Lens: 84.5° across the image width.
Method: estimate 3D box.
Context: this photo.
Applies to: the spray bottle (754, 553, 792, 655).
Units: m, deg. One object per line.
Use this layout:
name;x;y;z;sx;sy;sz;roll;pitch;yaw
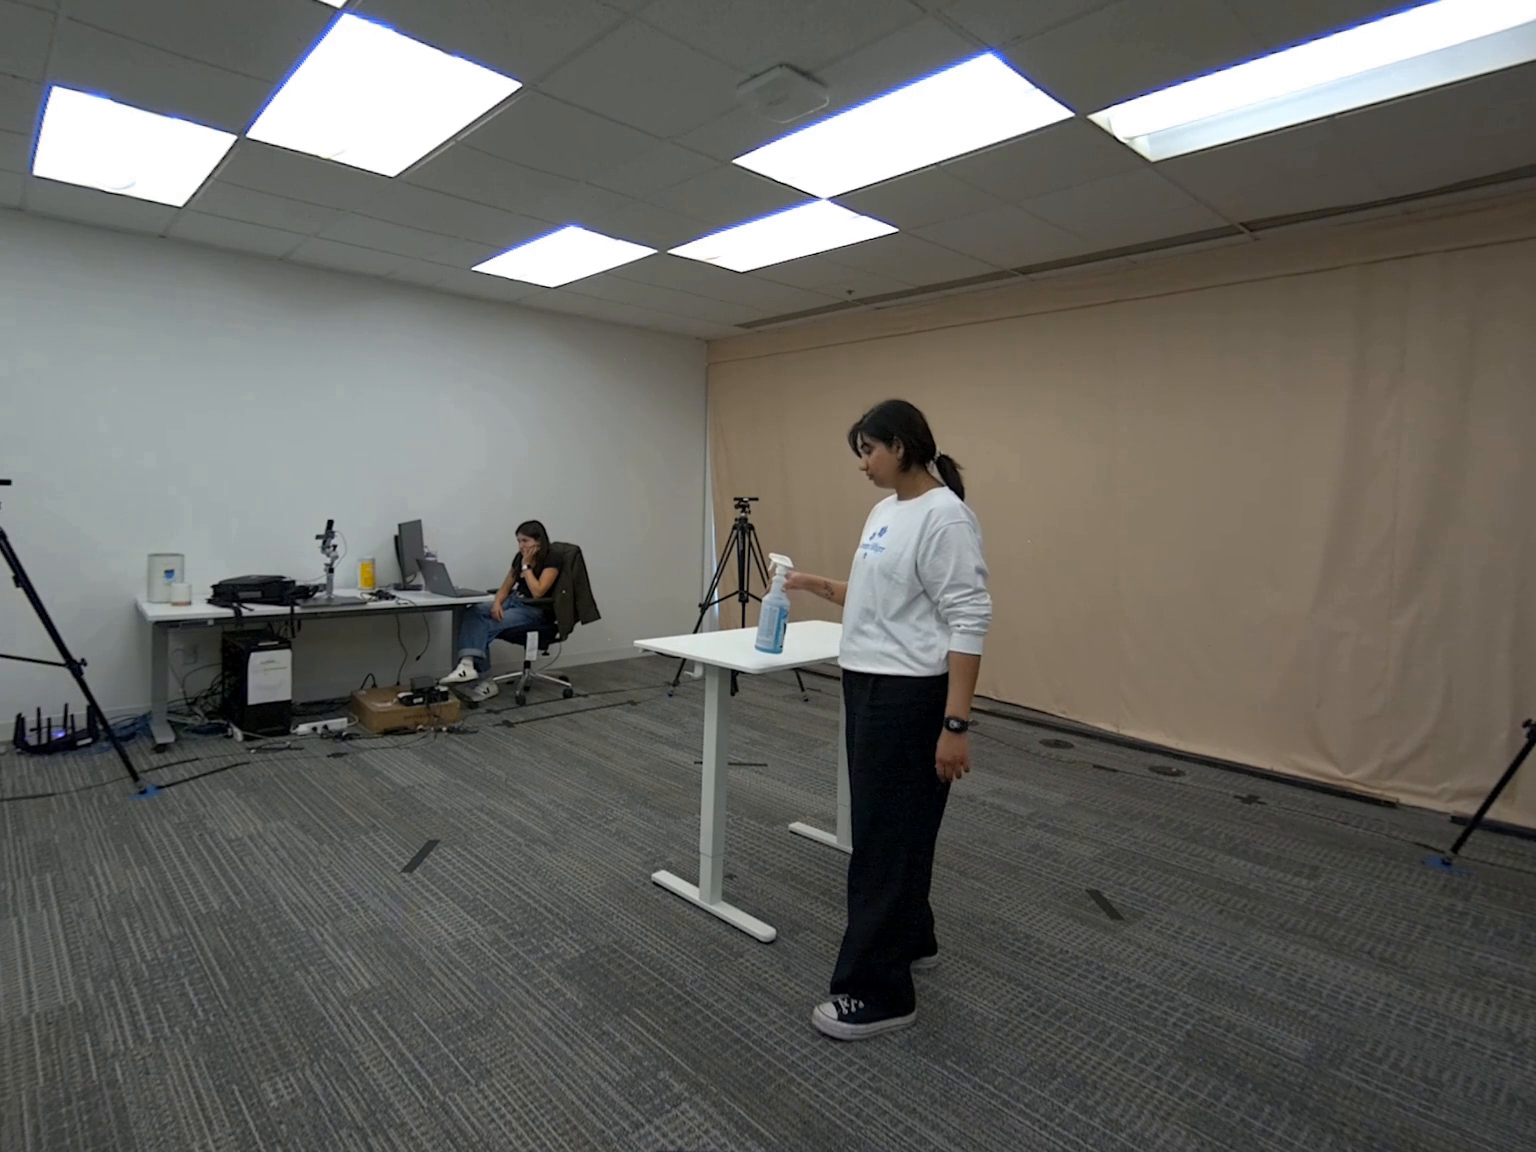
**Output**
spray bottle;0.025;0.087;2.559;0.085;0.297;0.092;9;0;-23
